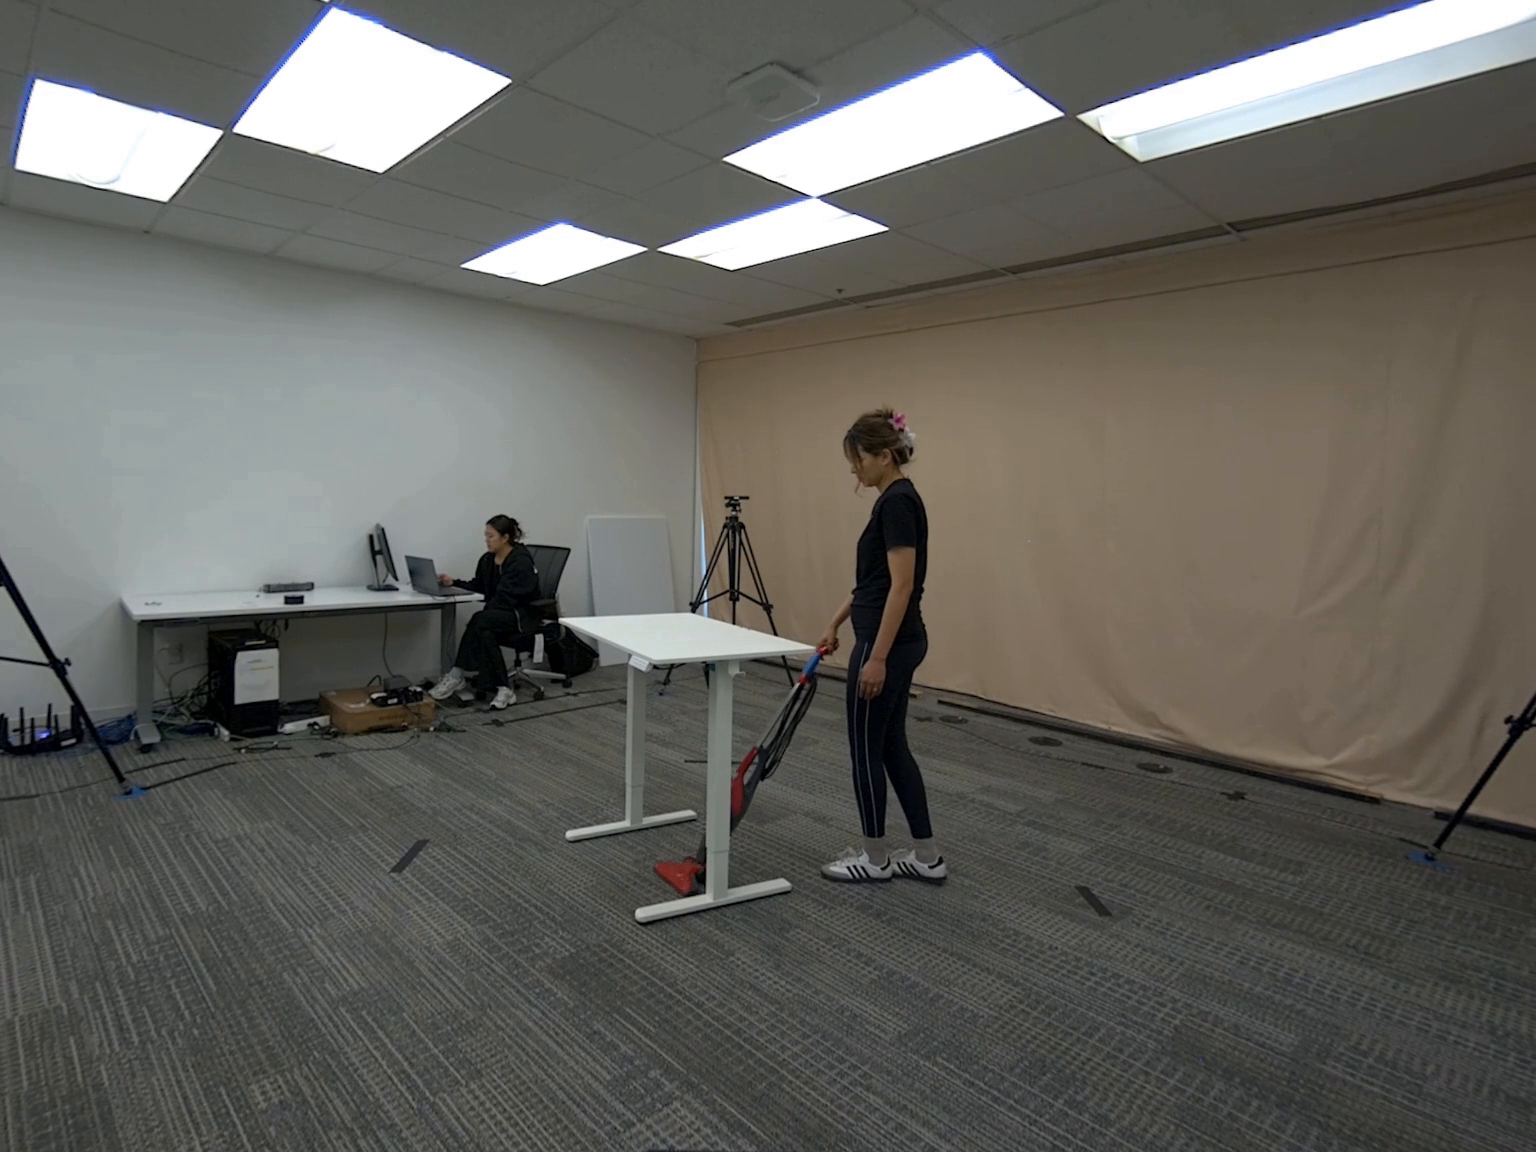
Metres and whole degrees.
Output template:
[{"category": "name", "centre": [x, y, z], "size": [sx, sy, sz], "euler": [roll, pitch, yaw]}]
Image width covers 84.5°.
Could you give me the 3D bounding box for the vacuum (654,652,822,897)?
[{"category": "vacuum", "centre": [-0.022, 0.692, 3.201], "size": [0.140, 1.051, 0.259], "euler": [47, -20, -30]}]
